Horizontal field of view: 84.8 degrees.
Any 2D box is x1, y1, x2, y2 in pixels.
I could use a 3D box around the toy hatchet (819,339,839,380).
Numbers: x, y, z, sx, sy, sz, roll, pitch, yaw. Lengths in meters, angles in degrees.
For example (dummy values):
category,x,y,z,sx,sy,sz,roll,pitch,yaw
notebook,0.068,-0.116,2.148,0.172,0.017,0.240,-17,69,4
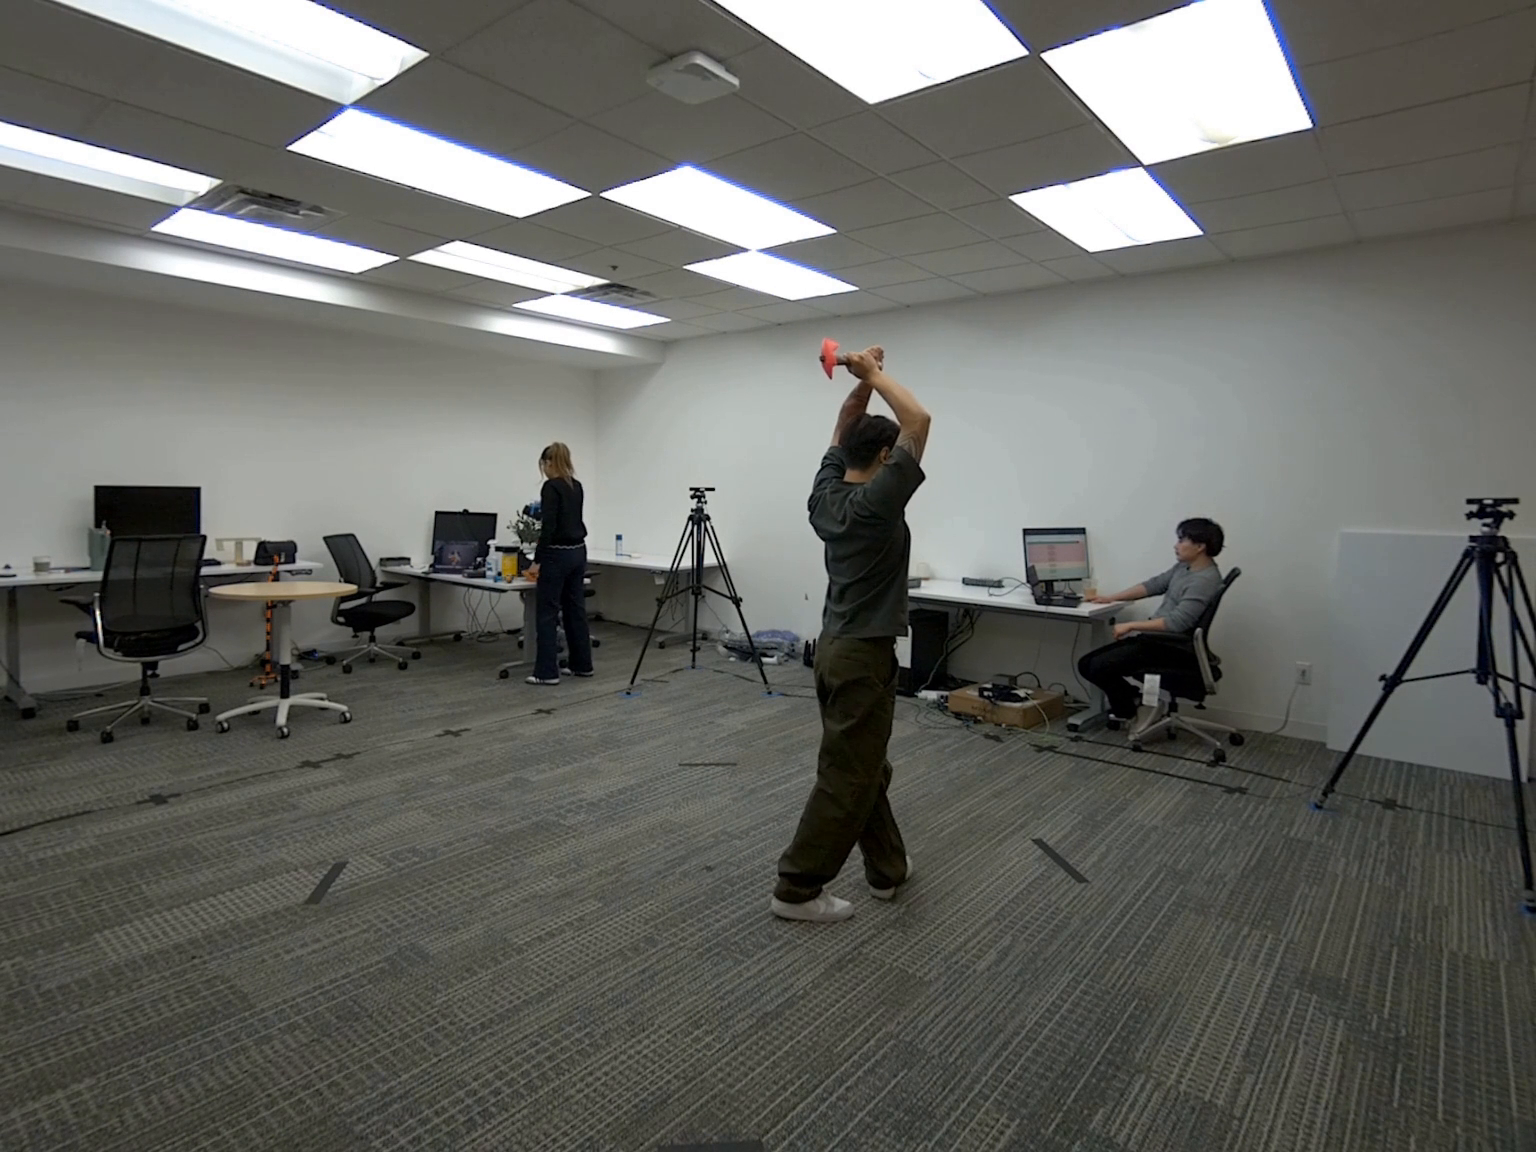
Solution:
category,x,y,z,sx,sy,sz,roll,pitch,yaw
toy hatchet,0.260,-0.738,2.764,0.266,0.131,0.030,-26,3,-28
